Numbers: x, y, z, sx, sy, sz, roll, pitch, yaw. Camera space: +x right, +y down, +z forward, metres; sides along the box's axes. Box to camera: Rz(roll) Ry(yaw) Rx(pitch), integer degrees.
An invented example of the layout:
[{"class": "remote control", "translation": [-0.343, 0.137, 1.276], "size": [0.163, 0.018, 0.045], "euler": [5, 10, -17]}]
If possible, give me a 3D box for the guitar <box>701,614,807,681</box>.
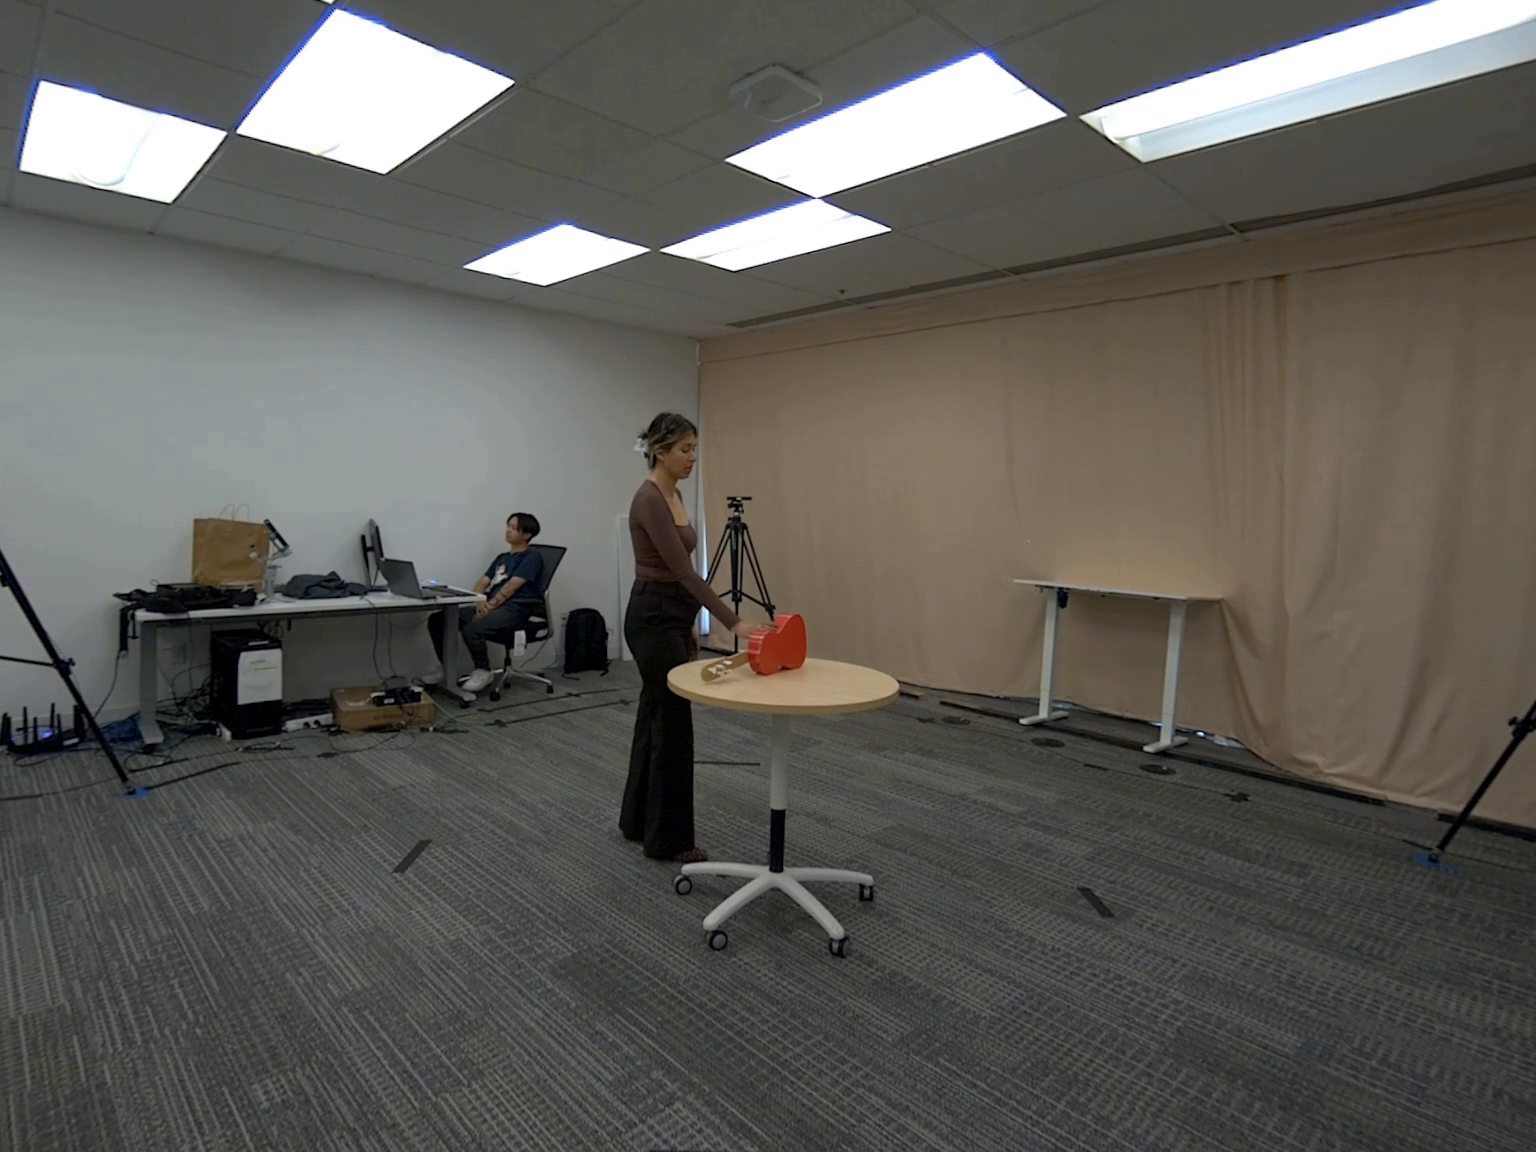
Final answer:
[{"class": "guitar", "translation": [-0.041, 0.294, 2.838], "size": [0.072, 0.190, 0.493], "euler": [5, 23, 37]}]
